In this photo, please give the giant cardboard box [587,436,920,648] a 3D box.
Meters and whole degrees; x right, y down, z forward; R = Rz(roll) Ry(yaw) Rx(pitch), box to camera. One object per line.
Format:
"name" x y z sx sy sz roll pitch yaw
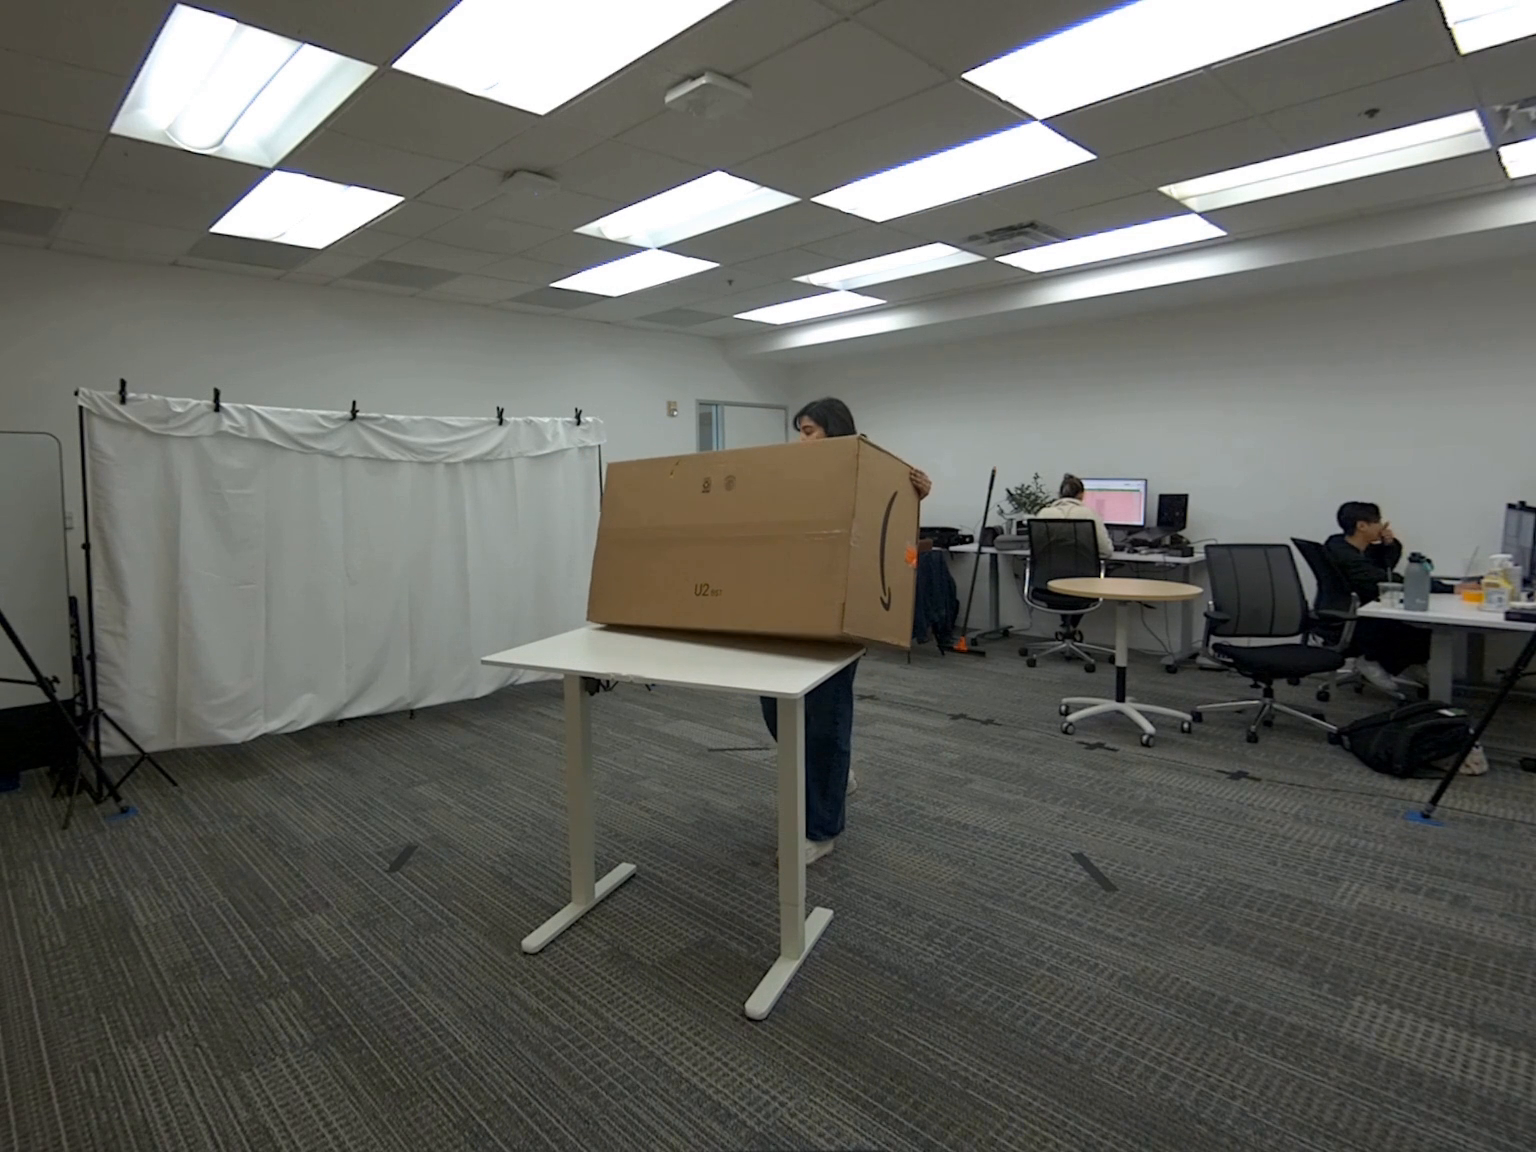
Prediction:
"giant cardboard box" -0.074 -0.088 2.853 1.054 0.582 0.411 -1 -12 38
